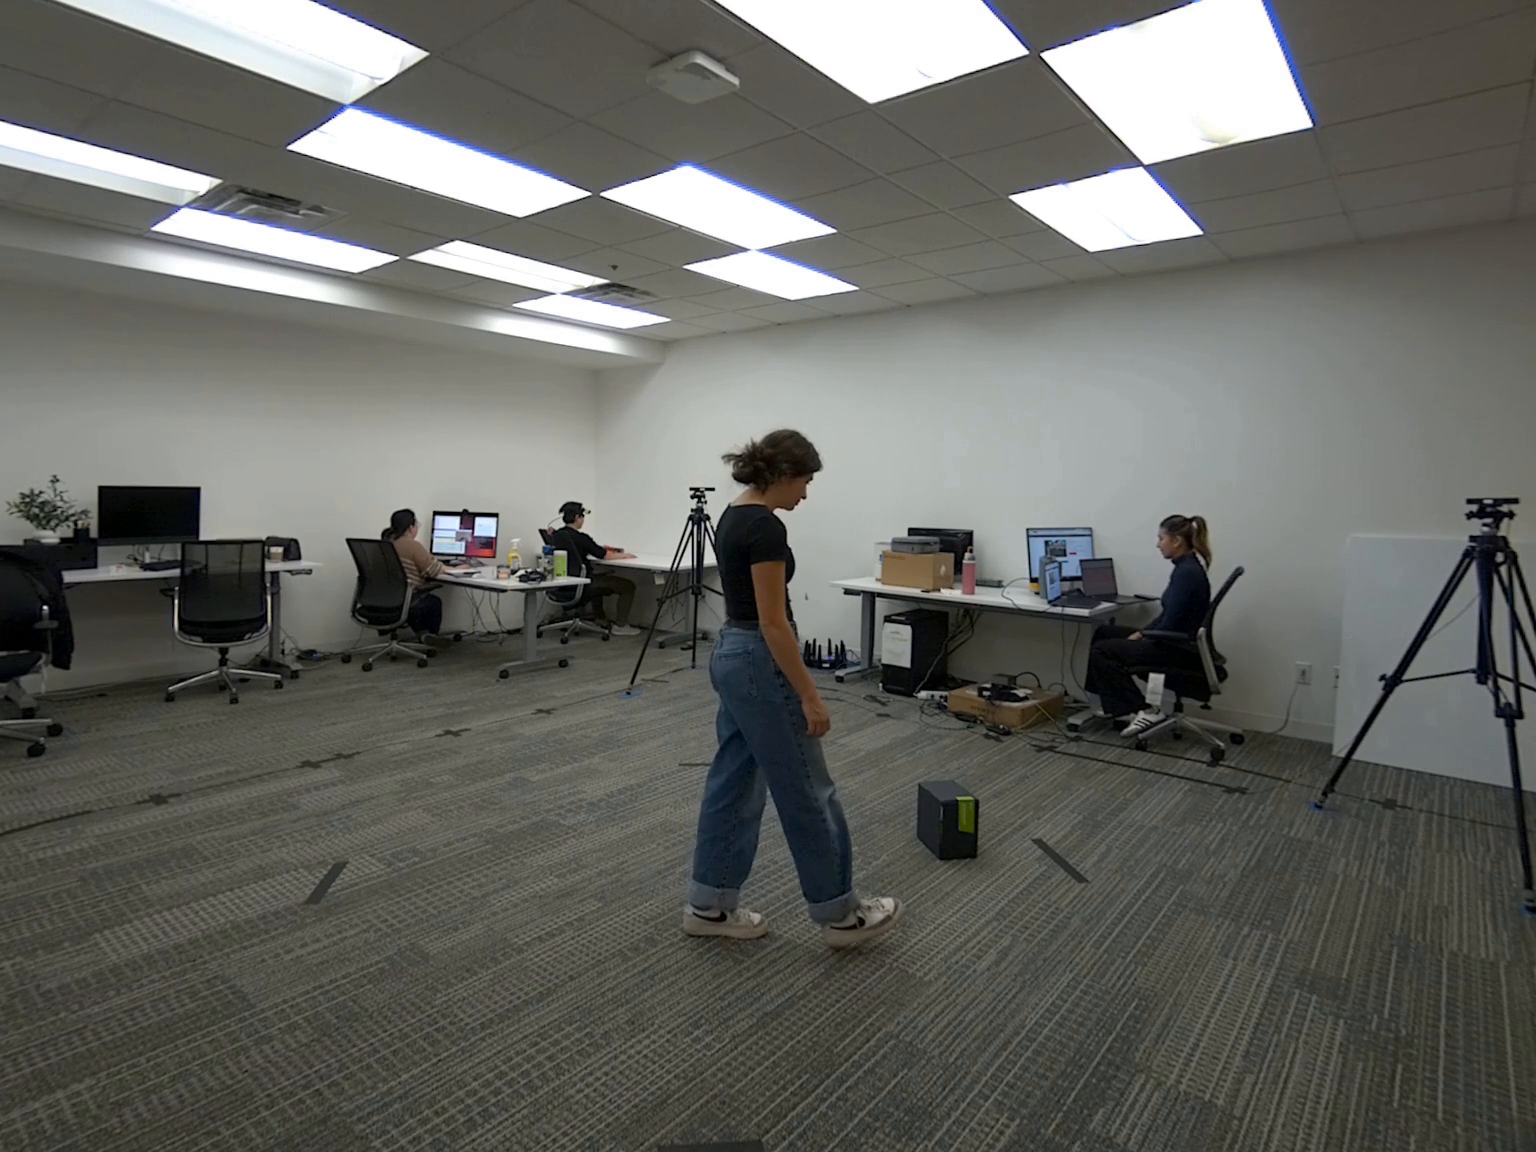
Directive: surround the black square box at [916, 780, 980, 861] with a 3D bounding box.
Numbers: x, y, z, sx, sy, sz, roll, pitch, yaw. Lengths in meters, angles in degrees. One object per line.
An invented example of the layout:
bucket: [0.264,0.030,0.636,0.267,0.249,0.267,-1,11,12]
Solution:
black square box: [0.695,0.943,3.337,0.154,0.227,0.221,-1,5,-13]
